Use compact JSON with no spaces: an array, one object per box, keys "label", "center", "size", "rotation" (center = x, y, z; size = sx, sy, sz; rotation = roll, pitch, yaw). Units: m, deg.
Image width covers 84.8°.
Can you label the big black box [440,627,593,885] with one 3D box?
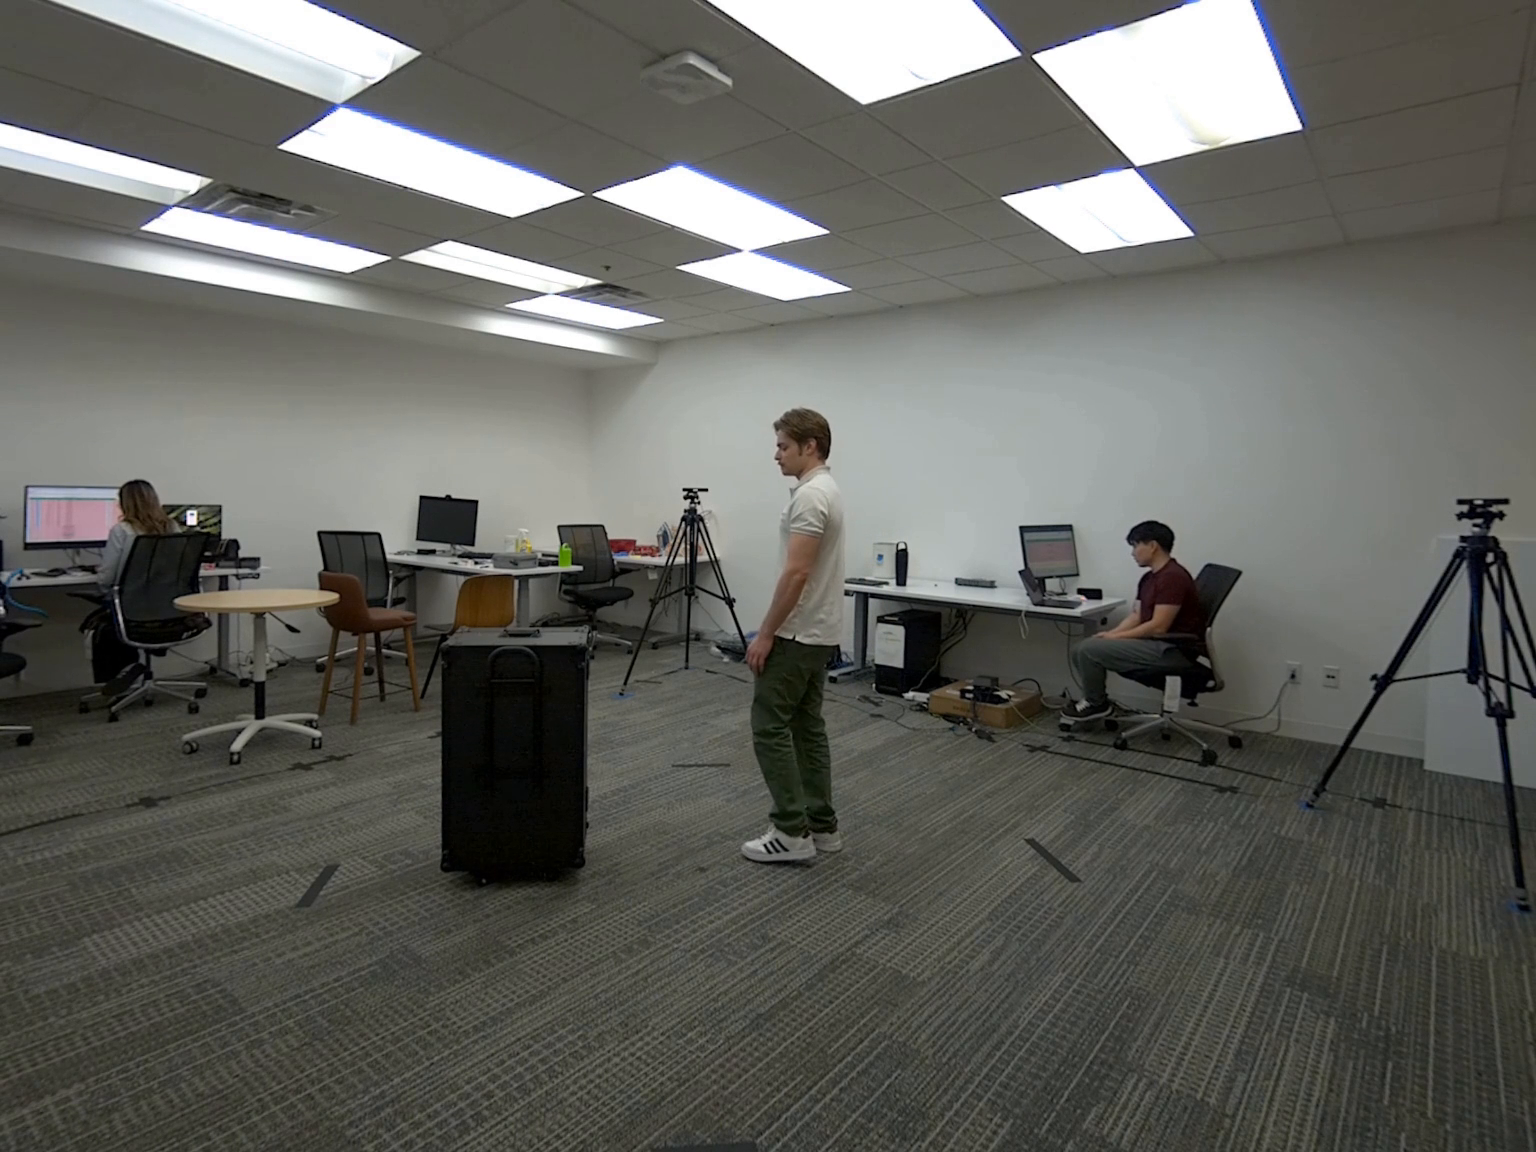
[{"label":"big black box","center":[-0.903,0.636,3.080],"size":[0.520,0.866,0.389],"rotation":[1,3,-6]}]
